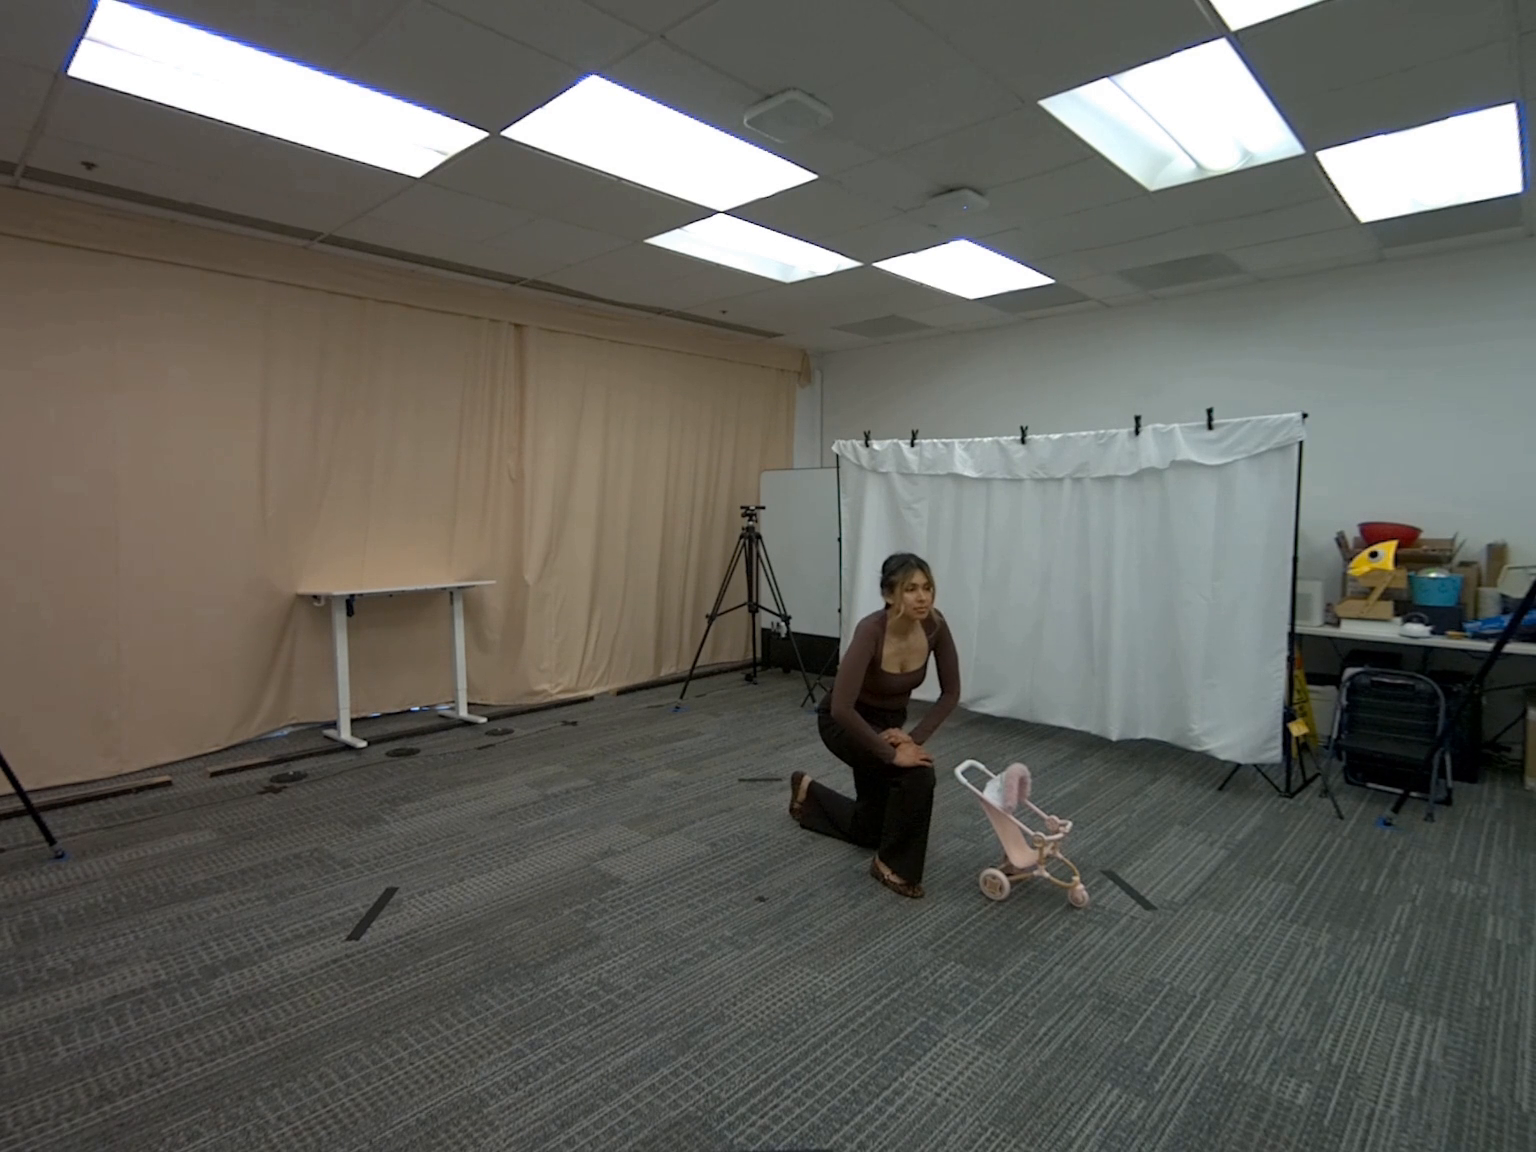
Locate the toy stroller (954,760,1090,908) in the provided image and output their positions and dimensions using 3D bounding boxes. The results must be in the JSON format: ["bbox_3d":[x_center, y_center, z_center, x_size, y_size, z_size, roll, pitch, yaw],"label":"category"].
[{"bbox_3d":[0.923,0.919,3.016,0.349,0.539,0.273,-20,-10,38],"label":"toy stroller"}]
